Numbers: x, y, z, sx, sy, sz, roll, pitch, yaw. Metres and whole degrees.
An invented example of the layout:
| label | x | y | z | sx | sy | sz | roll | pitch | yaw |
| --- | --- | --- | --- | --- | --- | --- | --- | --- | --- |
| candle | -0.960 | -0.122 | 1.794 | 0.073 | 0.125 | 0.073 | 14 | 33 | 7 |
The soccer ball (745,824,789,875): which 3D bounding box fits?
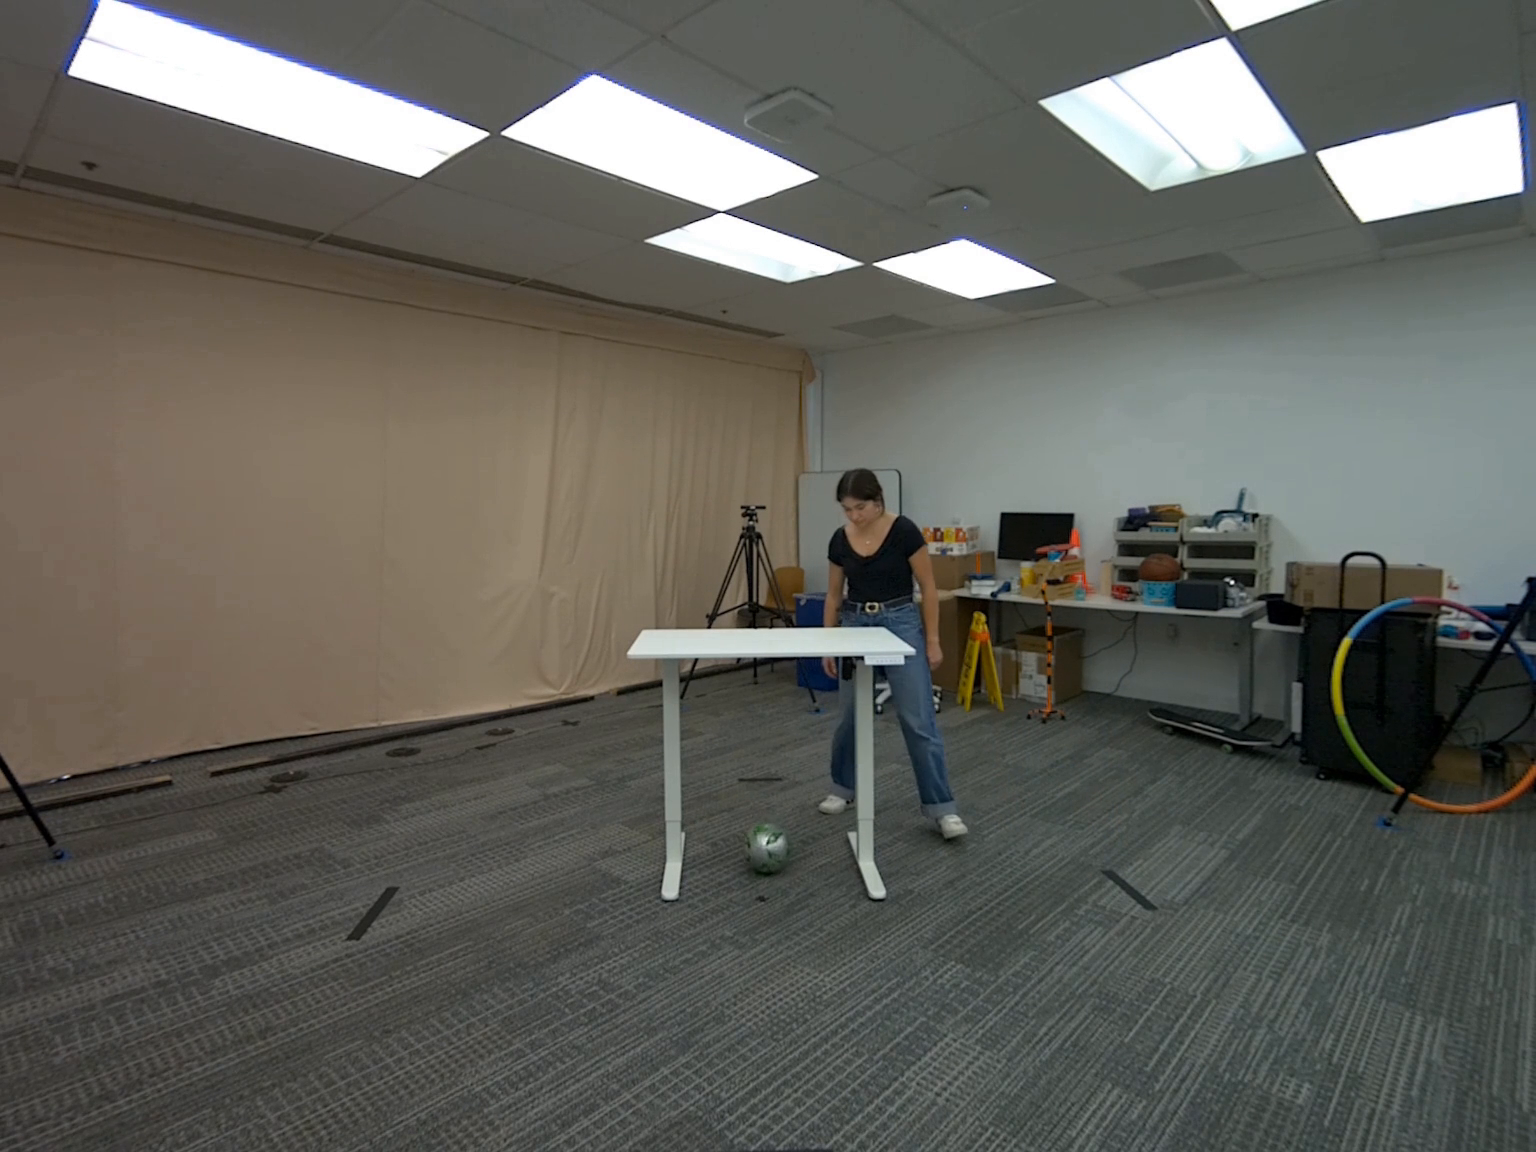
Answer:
| label | x | y | z | sx | sy | sz | roll | pitch | yaw |
| --- | --- | --- | --- | --- | --- | --- | --- | --- | --- |
| soccer ball | 0.006 | 1.035 | 3.194 | 0.187 | 0.187 | 0.188 | 0 | 4 | -2 |
